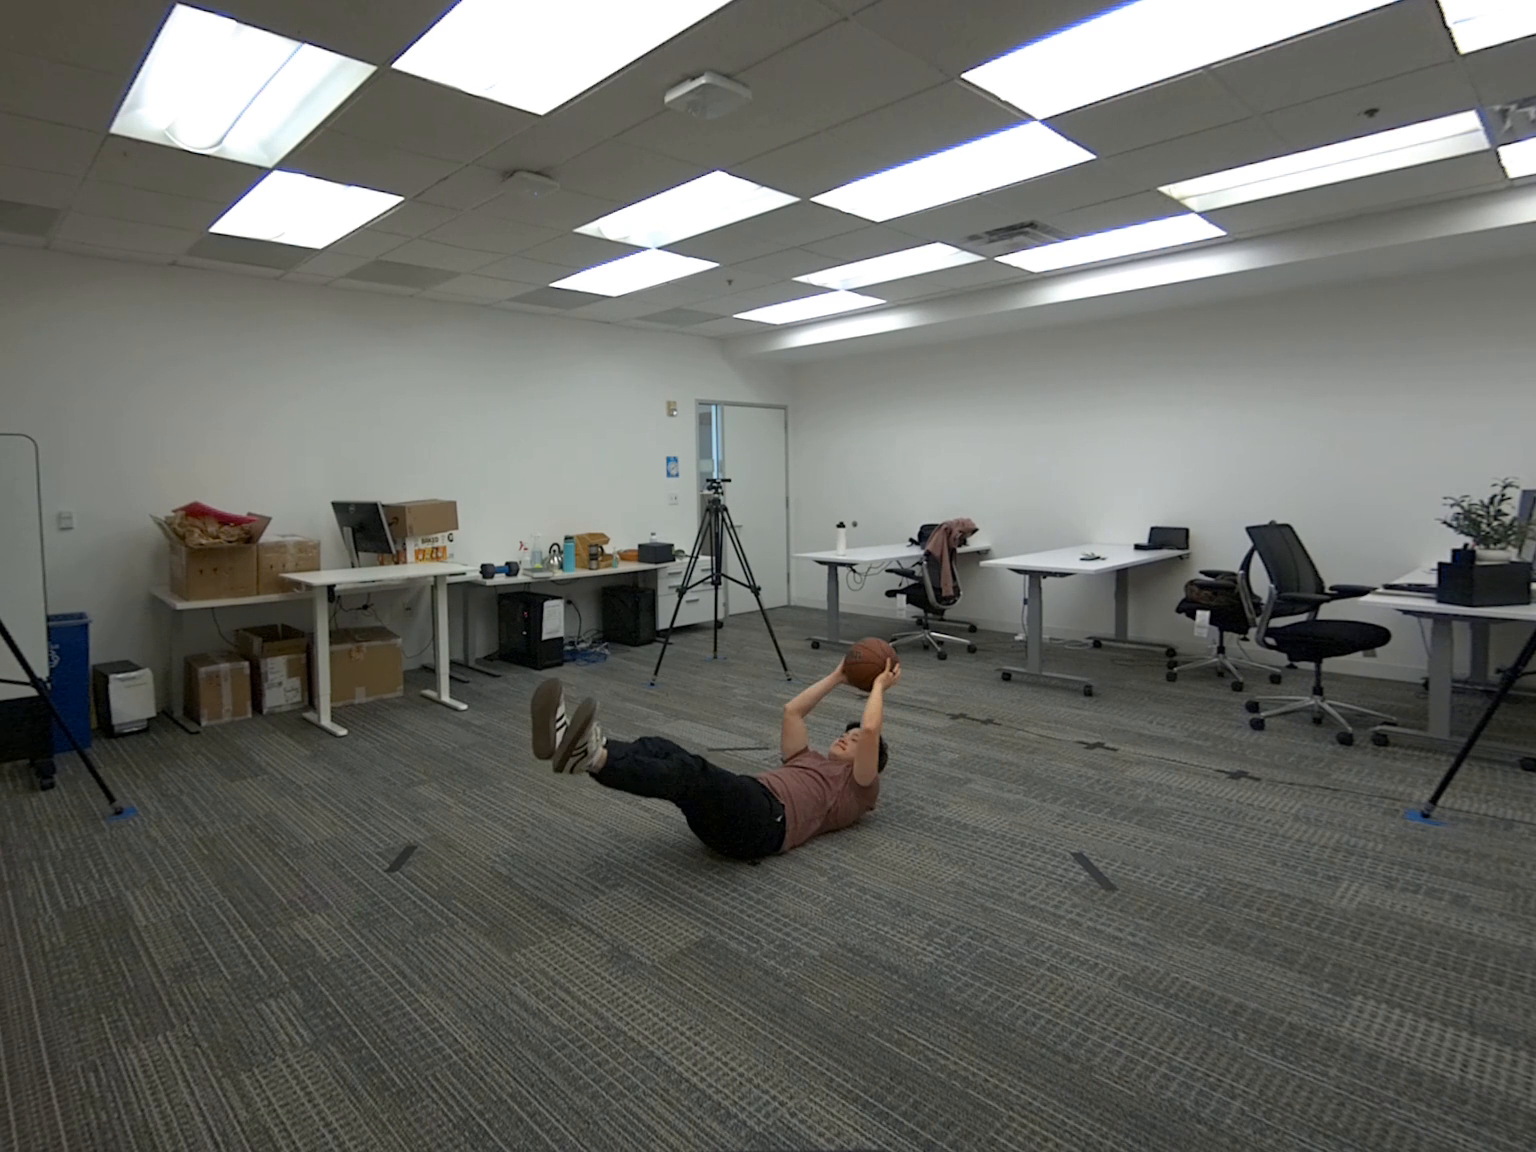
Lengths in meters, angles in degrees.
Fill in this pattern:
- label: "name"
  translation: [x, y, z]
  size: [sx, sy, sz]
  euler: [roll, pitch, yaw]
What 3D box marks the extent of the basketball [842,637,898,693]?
- label: "basketball"
  translation: [0.451, 0.396, 3.708]
  size: [0.236, 0.235, 0.237]
  euler: [-2, 5, -2]
